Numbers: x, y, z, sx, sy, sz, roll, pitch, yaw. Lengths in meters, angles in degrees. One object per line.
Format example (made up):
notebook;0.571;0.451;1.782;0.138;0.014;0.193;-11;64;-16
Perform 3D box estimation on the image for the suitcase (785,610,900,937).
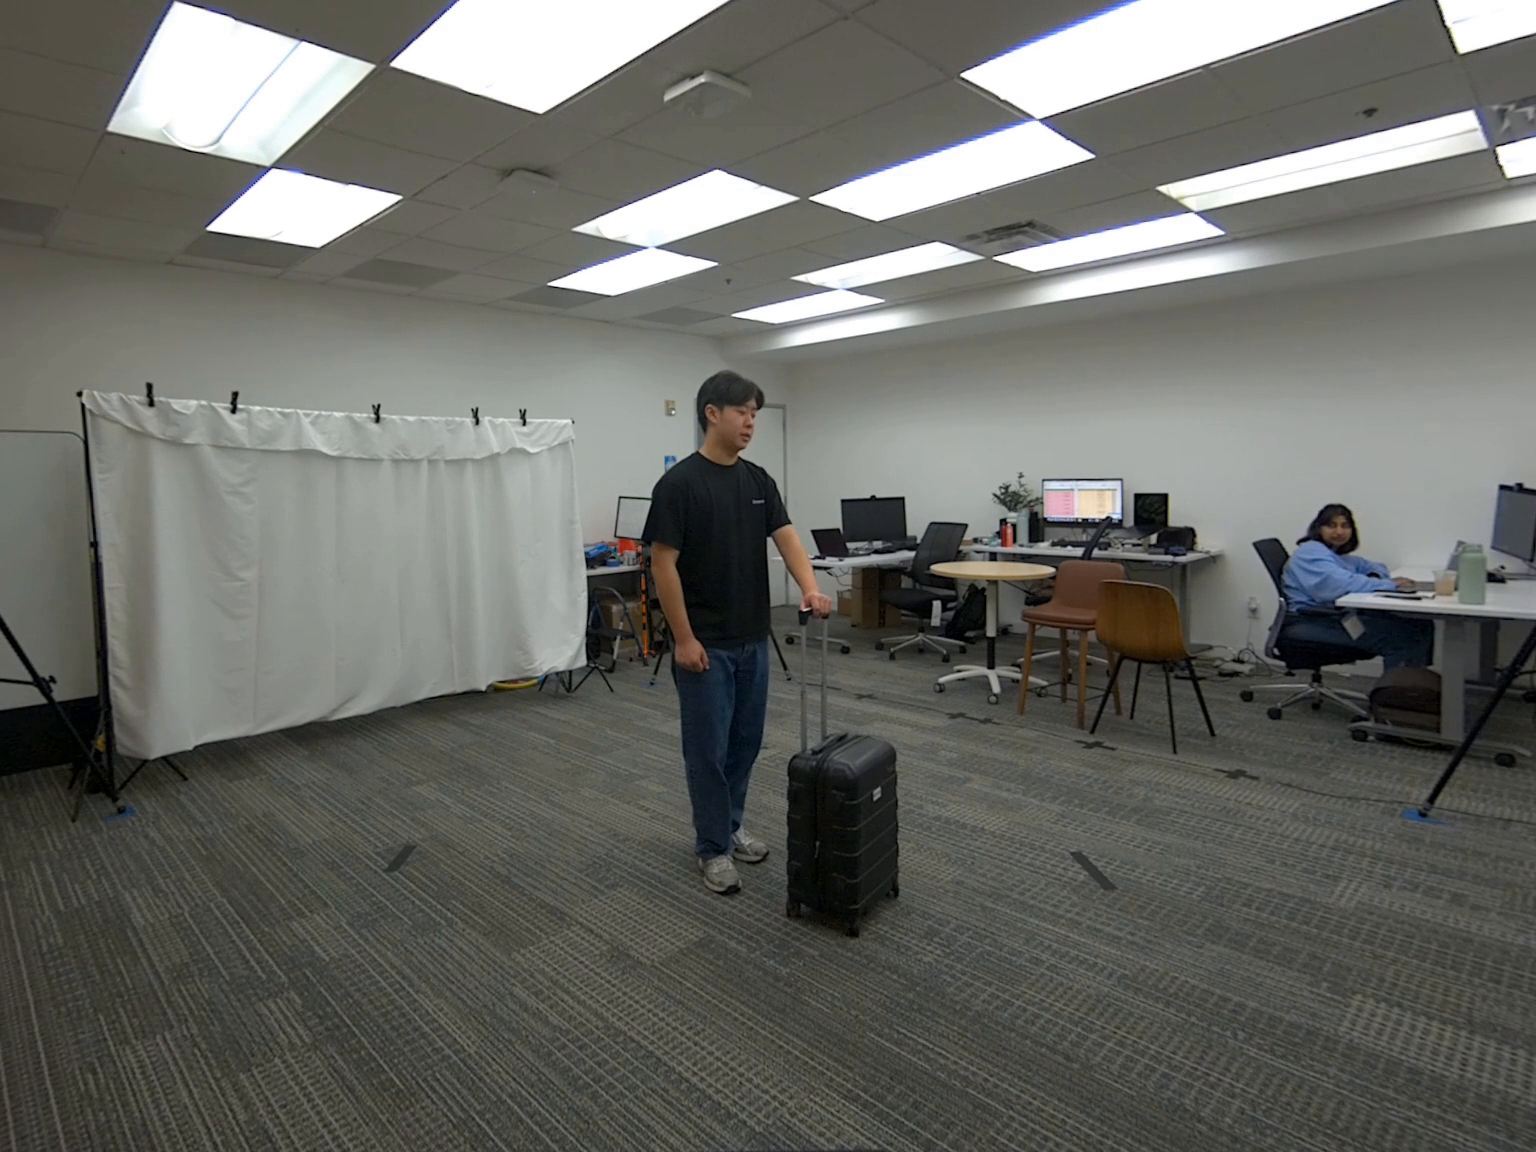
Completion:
suitcase;0.252;0.600;2.727;0.264;0.973;0.375;4;7;32
